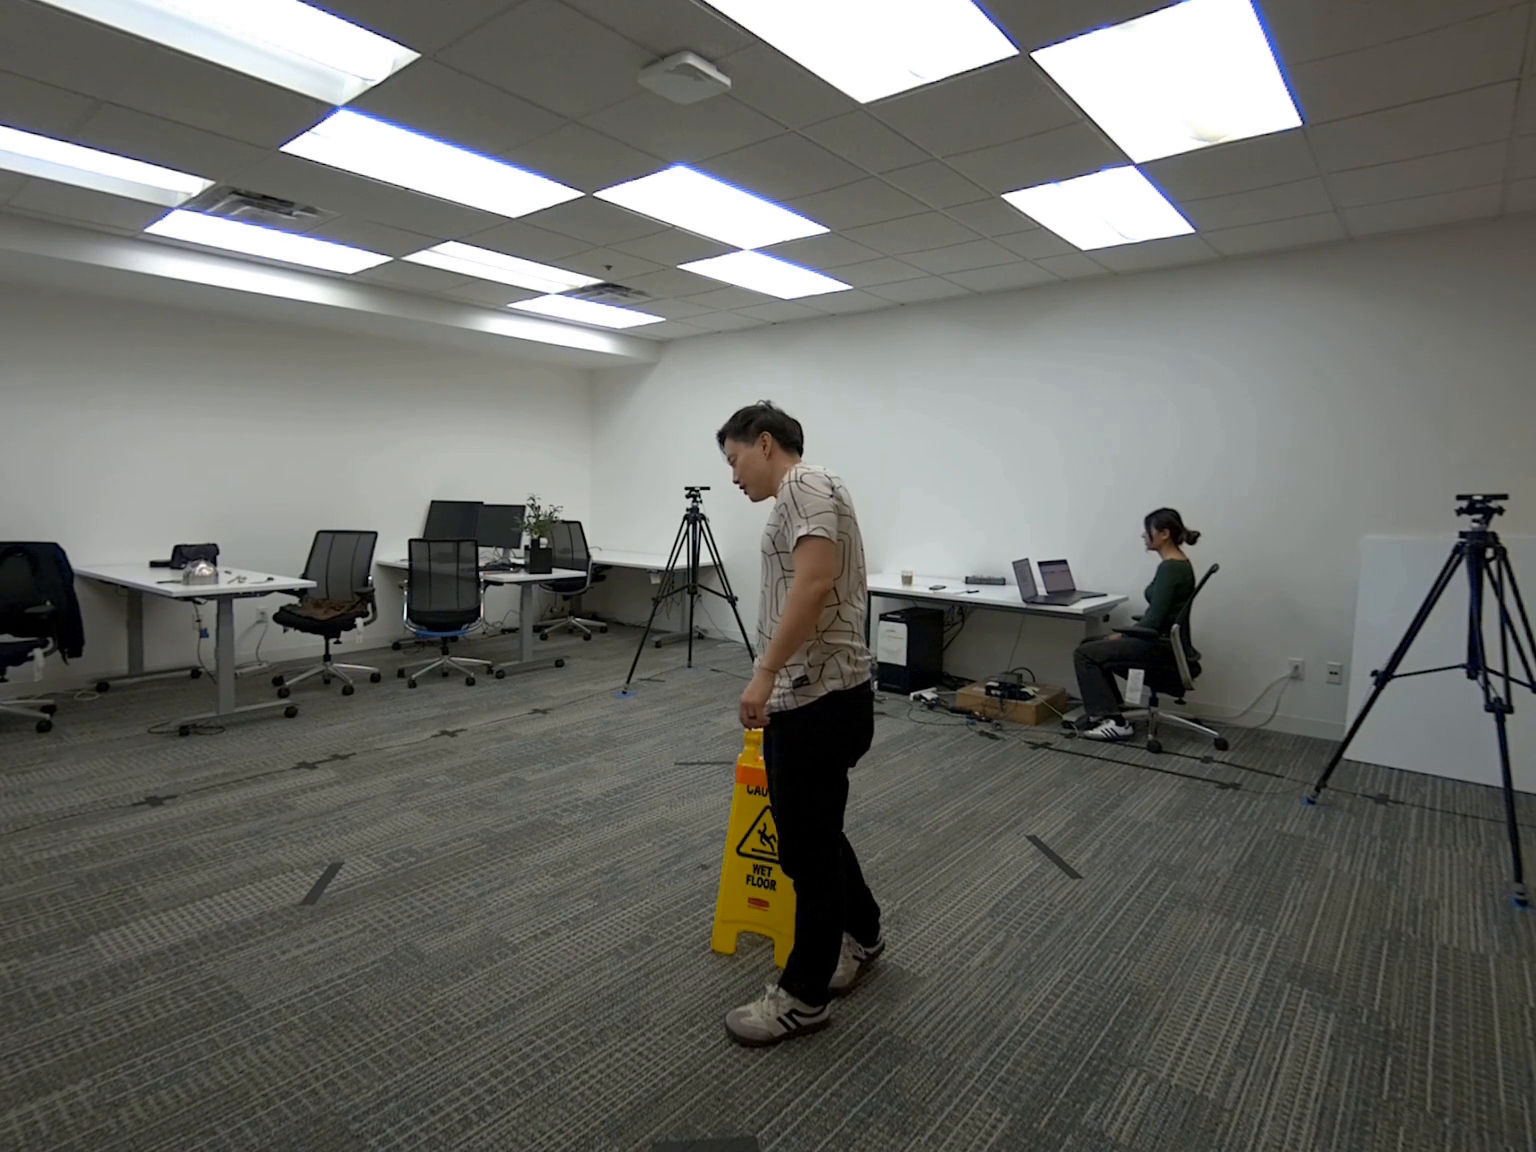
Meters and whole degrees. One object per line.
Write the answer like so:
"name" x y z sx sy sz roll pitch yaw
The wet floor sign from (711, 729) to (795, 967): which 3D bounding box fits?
"wet floor sign" 0.008 0.793 2.627 0.289 0.645 0.284 4 3 21
